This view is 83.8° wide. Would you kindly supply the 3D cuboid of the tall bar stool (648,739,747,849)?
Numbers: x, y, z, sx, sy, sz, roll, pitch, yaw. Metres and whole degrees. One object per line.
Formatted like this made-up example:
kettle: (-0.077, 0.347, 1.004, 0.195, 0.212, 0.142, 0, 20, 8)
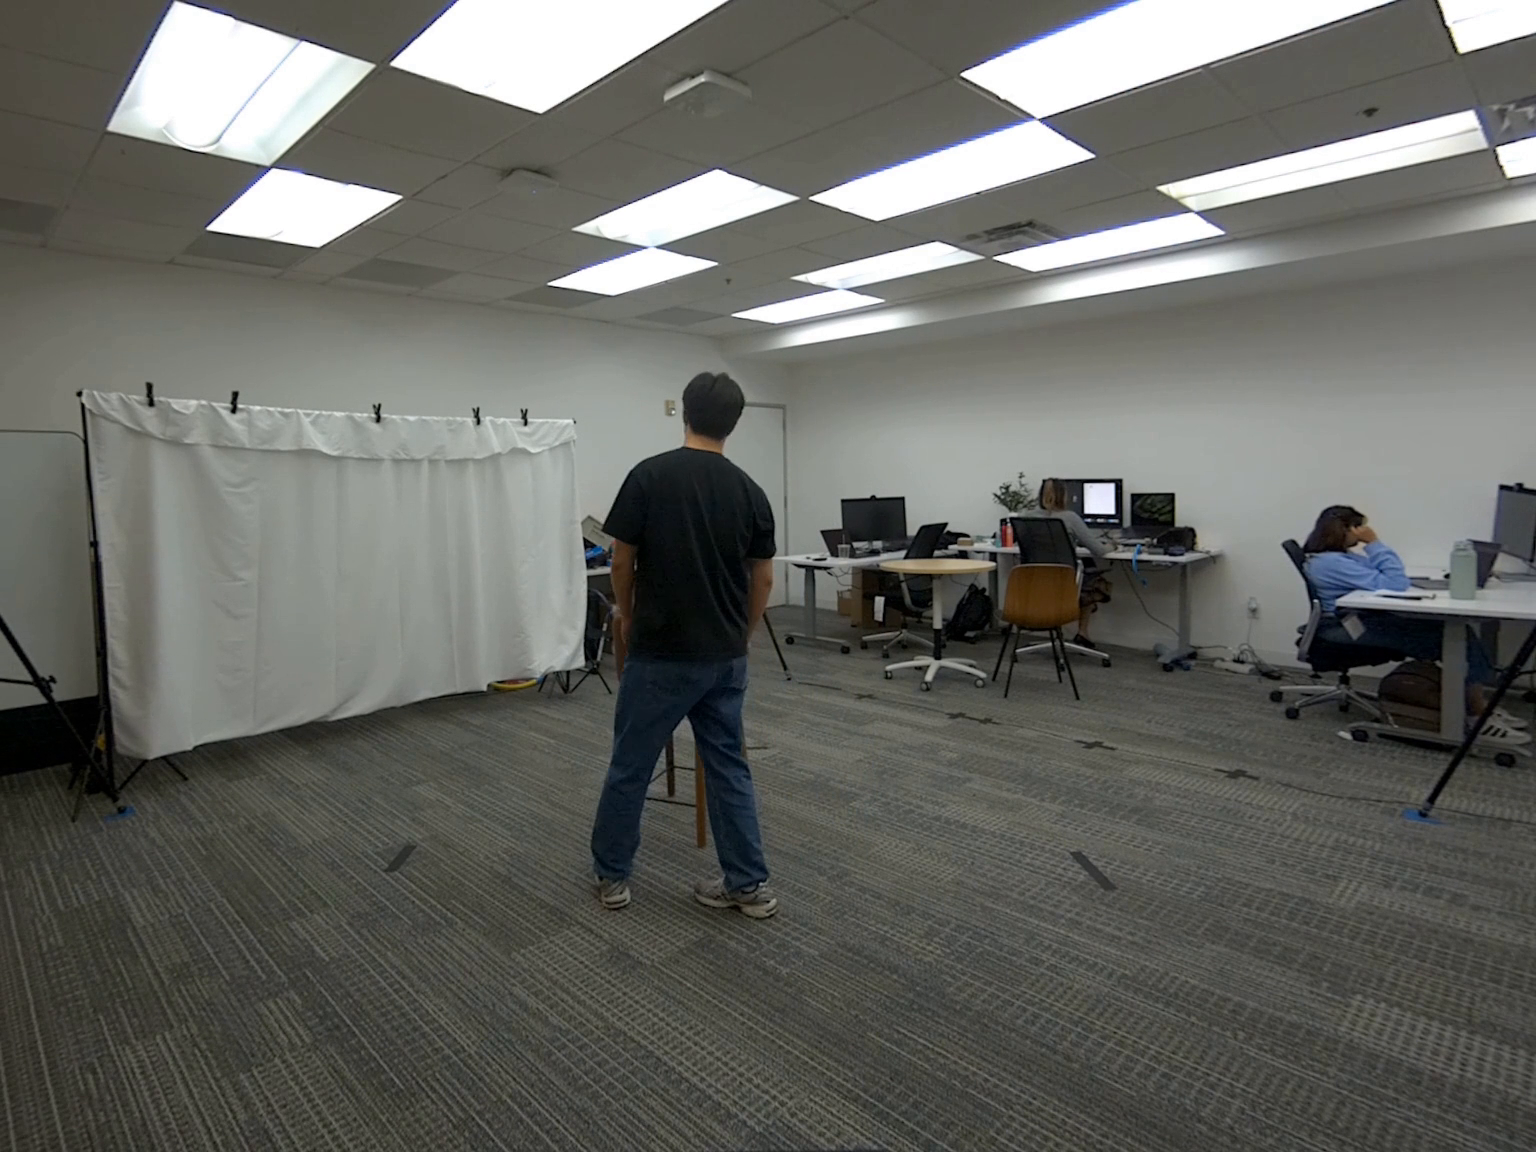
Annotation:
tall bar stool: (-0.341, 0.567, 3.484, 0.467, 0.885, 0.459, 1, 6, 25)
